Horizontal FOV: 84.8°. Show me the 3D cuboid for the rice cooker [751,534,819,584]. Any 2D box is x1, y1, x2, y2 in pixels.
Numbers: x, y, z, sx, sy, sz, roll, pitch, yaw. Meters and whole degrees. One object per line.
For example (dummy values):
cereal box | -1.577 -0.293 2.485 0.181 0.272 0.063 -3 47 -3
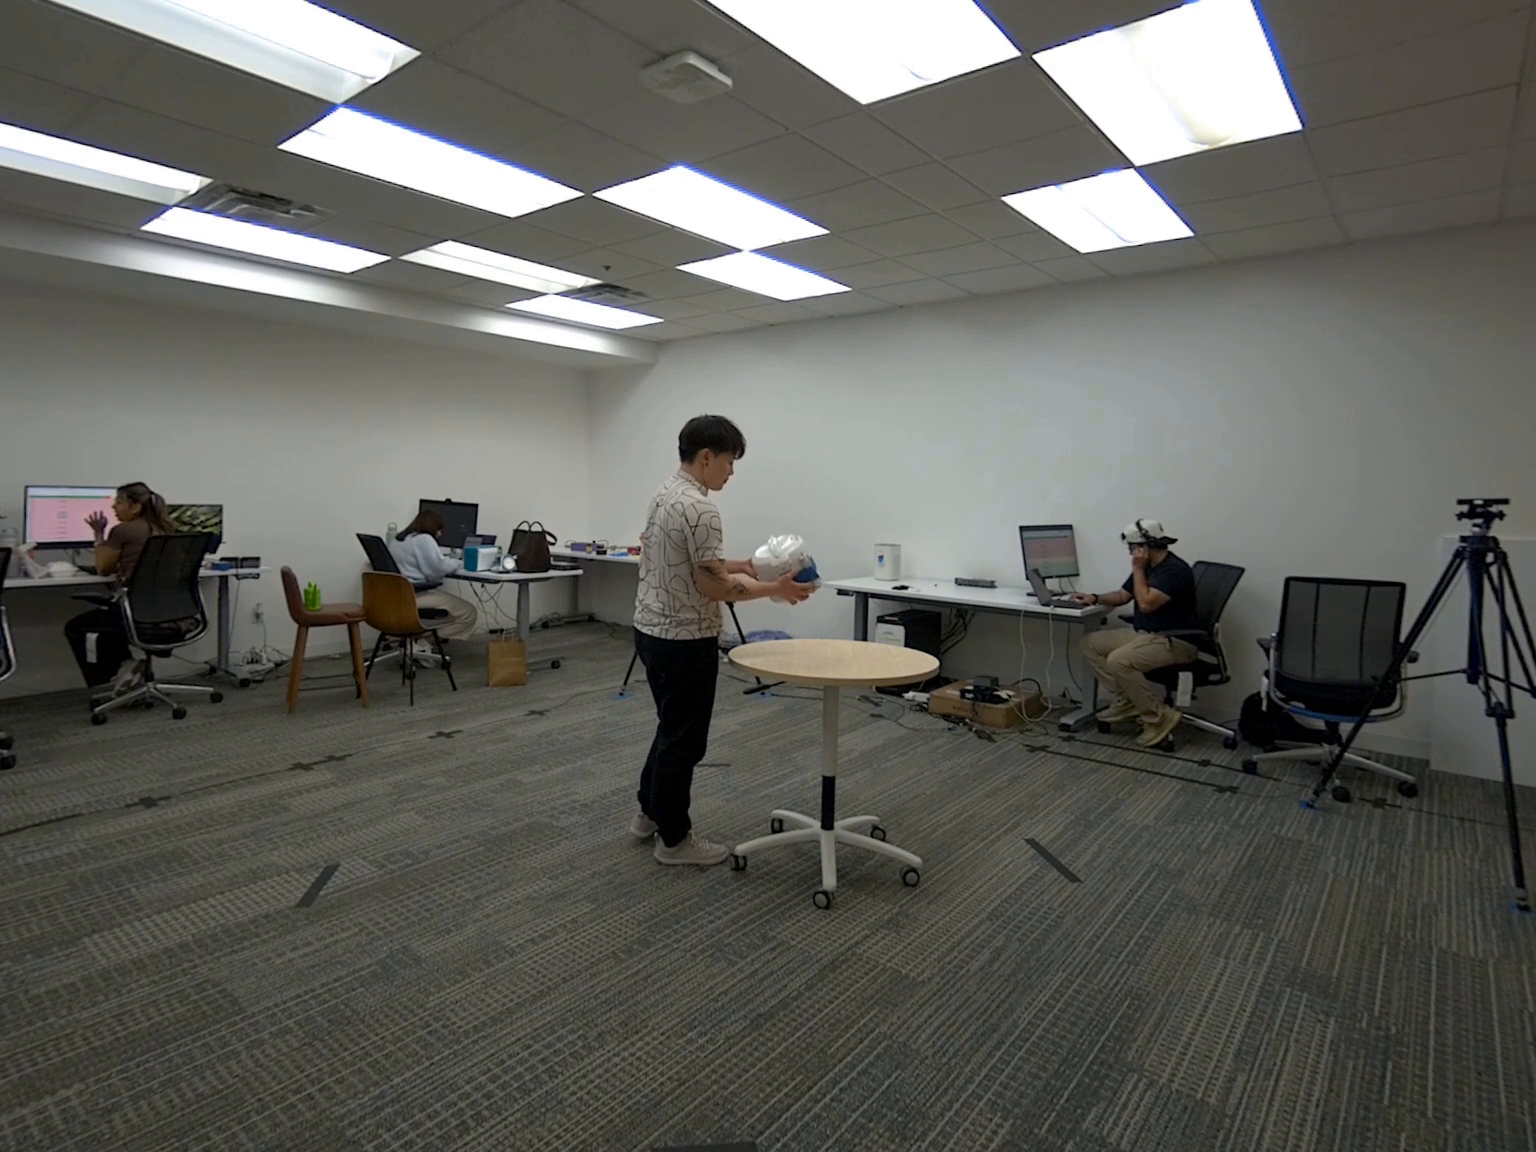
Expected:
rice cooker | 0.051 -0.034 3.175 0.218 0.227 0.225 -24 19 5
